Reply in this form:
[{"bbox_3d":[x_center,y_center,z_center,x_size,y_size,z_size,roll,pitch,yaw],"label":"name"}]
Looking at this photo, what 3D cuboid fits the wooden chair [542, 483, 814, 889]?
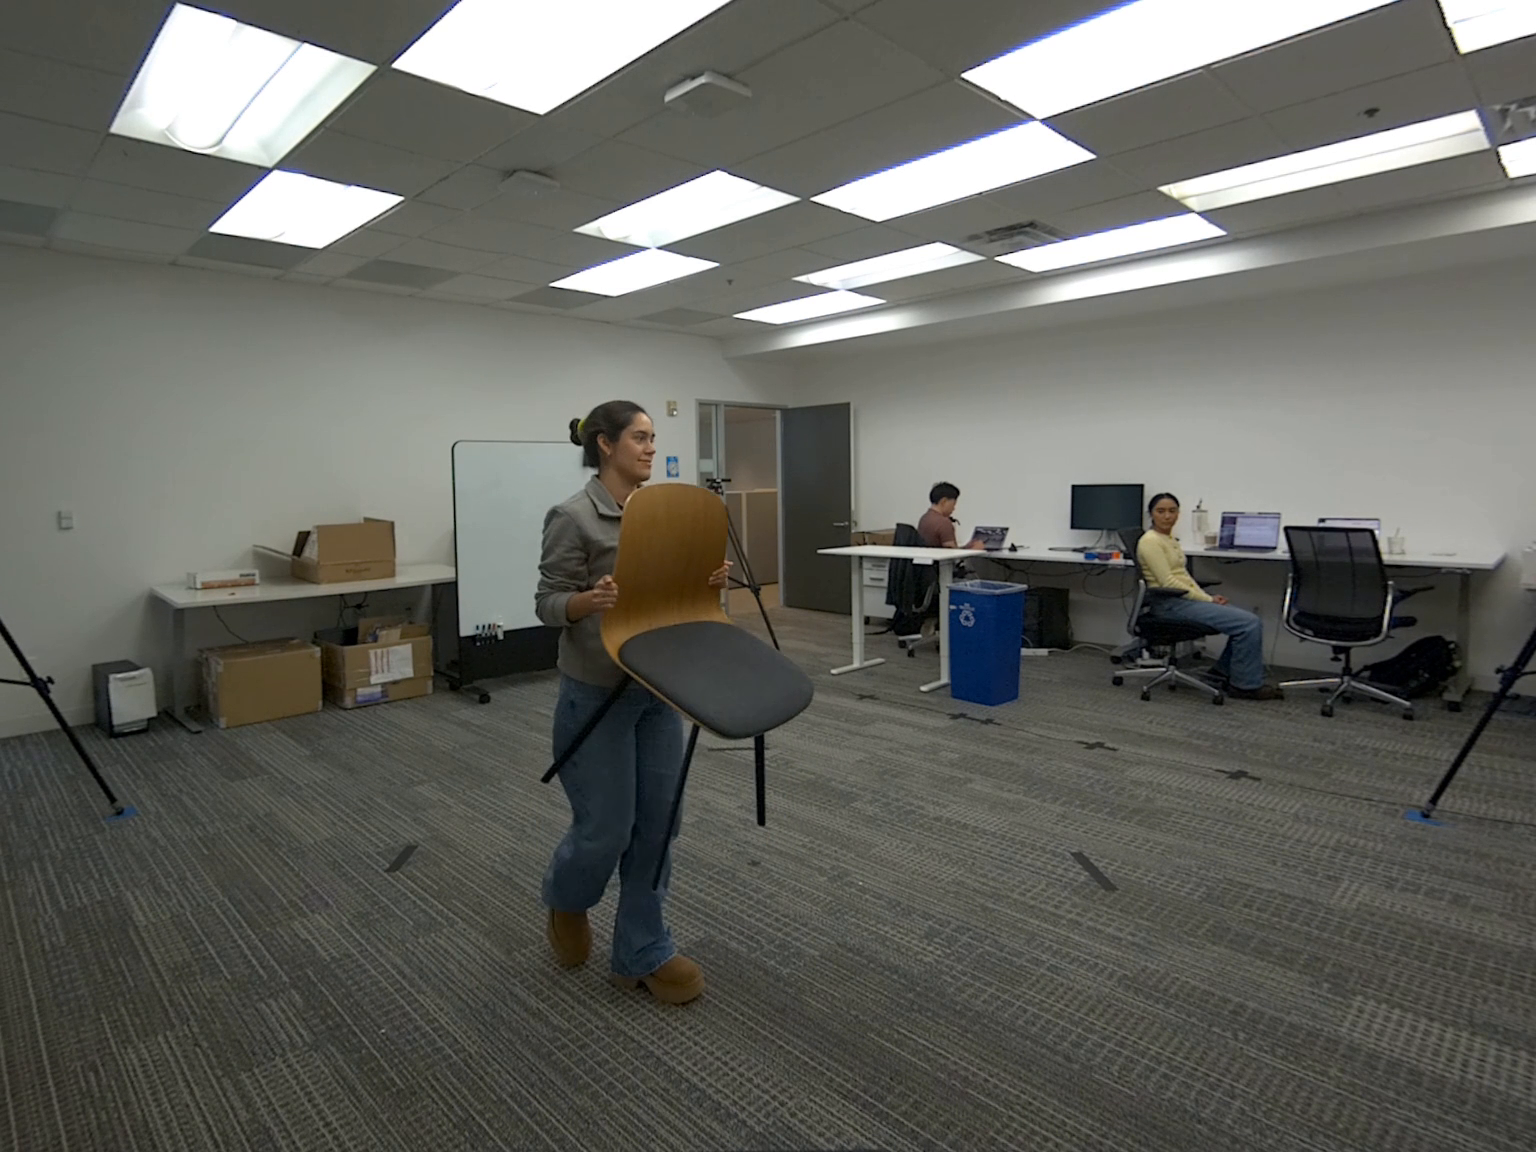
[{"bbox_3d":[-0.169,0.258,2.210,0.542,0.868,0.466,26,20,34],"label":"wooden chair"}]
